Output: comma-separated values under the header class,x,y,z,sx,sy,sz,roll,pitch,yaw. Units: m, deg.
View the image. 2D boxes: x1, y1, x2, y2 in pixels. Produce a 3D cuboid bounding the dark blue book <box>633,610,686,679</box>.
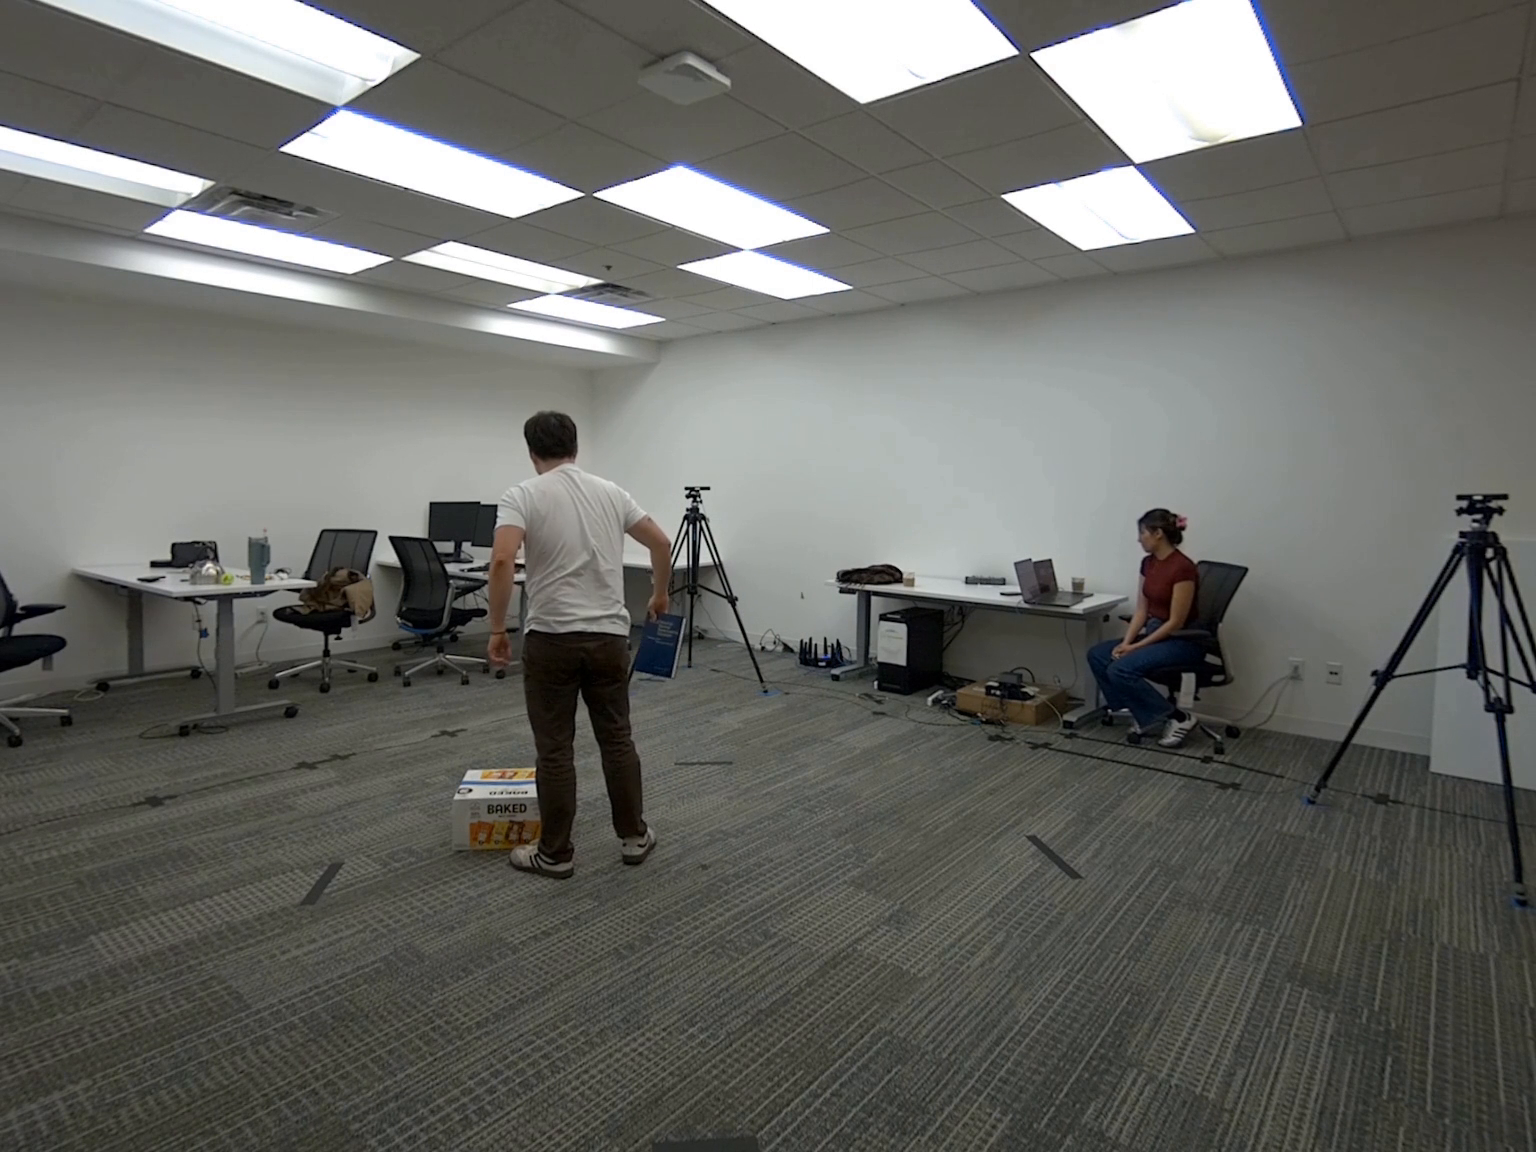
class,x,y,z,sx,sy,sz,roll,pitch,yaw
dark blue book,-0.435,0.272,3.353,0.166,0.247,0.044,6,-12,17
